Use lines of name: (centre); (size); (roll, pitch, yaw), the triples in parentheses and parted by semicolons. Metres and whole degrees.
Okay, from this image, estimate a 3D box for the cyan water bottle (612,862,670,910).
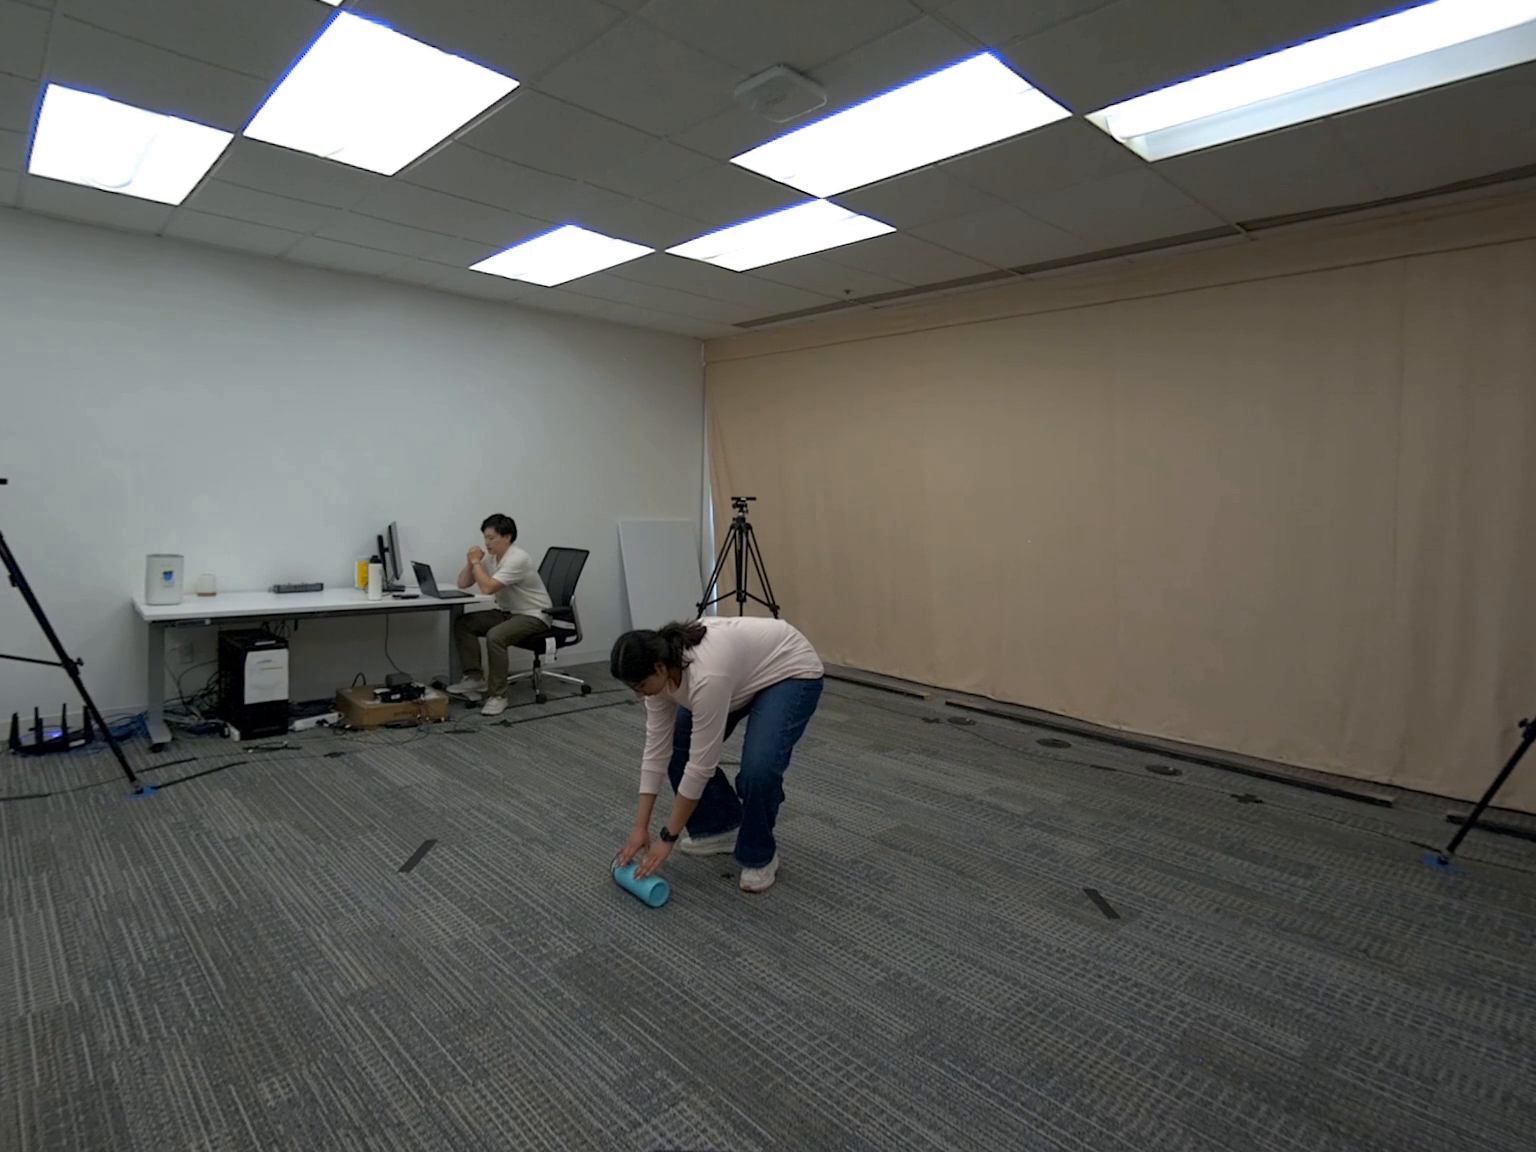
cyan water bottle: (-0.462, 1.065, 2.956); (0.090, 0.092, 0.290); (-2, 5, -41)
